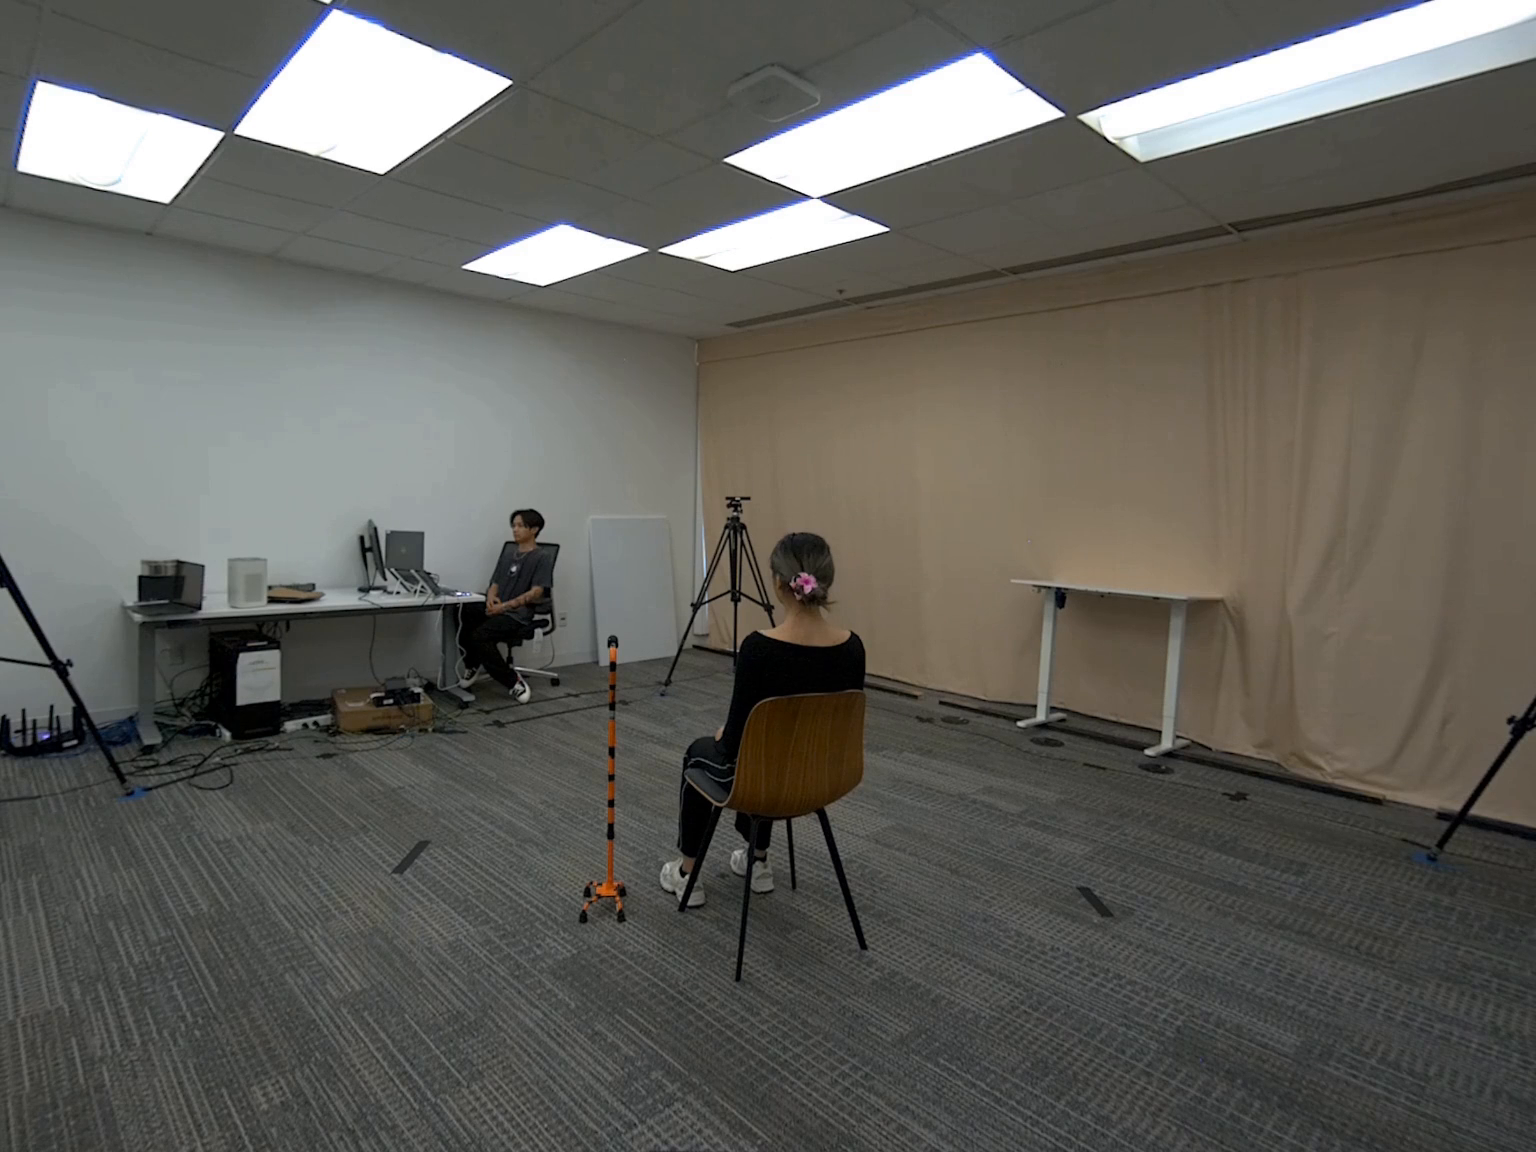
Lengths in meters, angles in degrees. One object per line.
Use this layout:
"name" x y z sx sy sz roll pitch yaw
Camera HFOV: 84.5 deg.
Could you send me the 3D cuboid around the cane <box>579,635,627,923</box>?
"cane" -0.542 0.668 2.818 0.151 0.906 0.208 1 3 -8
